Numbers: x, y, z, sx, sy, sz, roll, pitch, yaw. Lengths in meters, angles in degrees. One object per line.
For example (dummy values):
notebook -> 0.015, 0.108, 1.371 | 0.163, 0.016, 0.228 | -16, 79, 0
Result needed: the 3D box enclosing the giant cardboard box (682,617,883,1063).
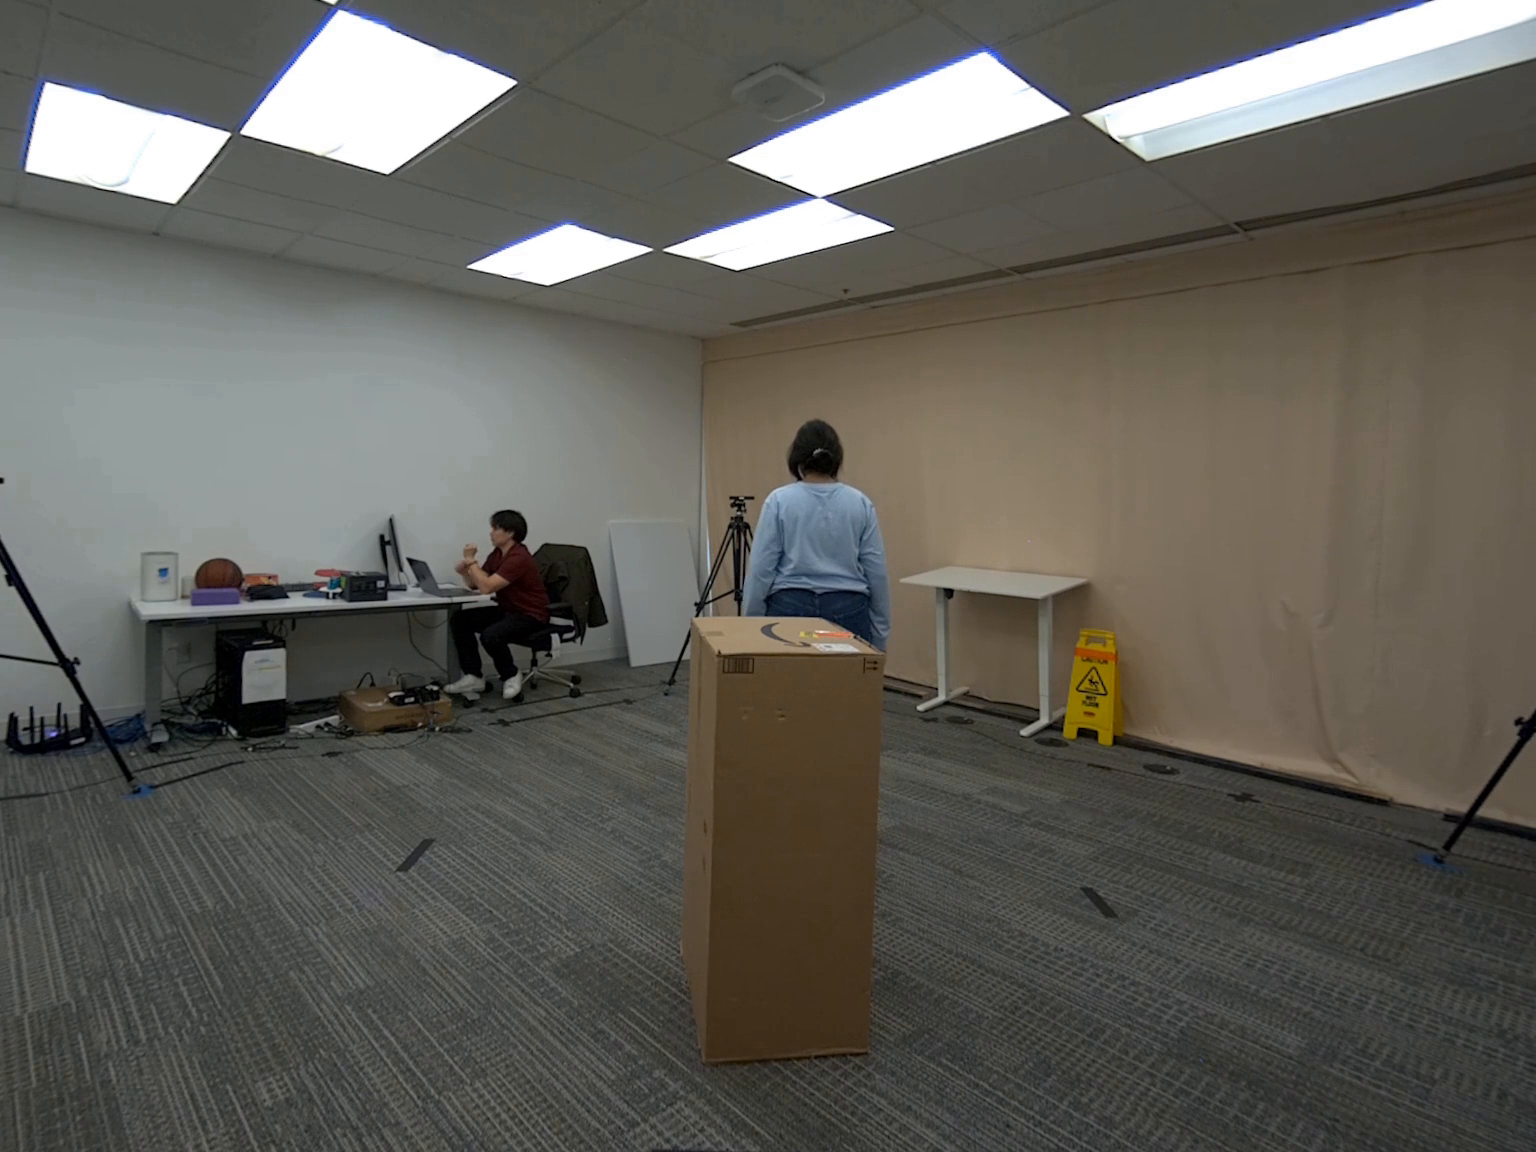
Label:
giant cardboard box -> 0.007, 0.671, 2.341 | 0.443, 1.024, 0.590 | 2, 4, -10
